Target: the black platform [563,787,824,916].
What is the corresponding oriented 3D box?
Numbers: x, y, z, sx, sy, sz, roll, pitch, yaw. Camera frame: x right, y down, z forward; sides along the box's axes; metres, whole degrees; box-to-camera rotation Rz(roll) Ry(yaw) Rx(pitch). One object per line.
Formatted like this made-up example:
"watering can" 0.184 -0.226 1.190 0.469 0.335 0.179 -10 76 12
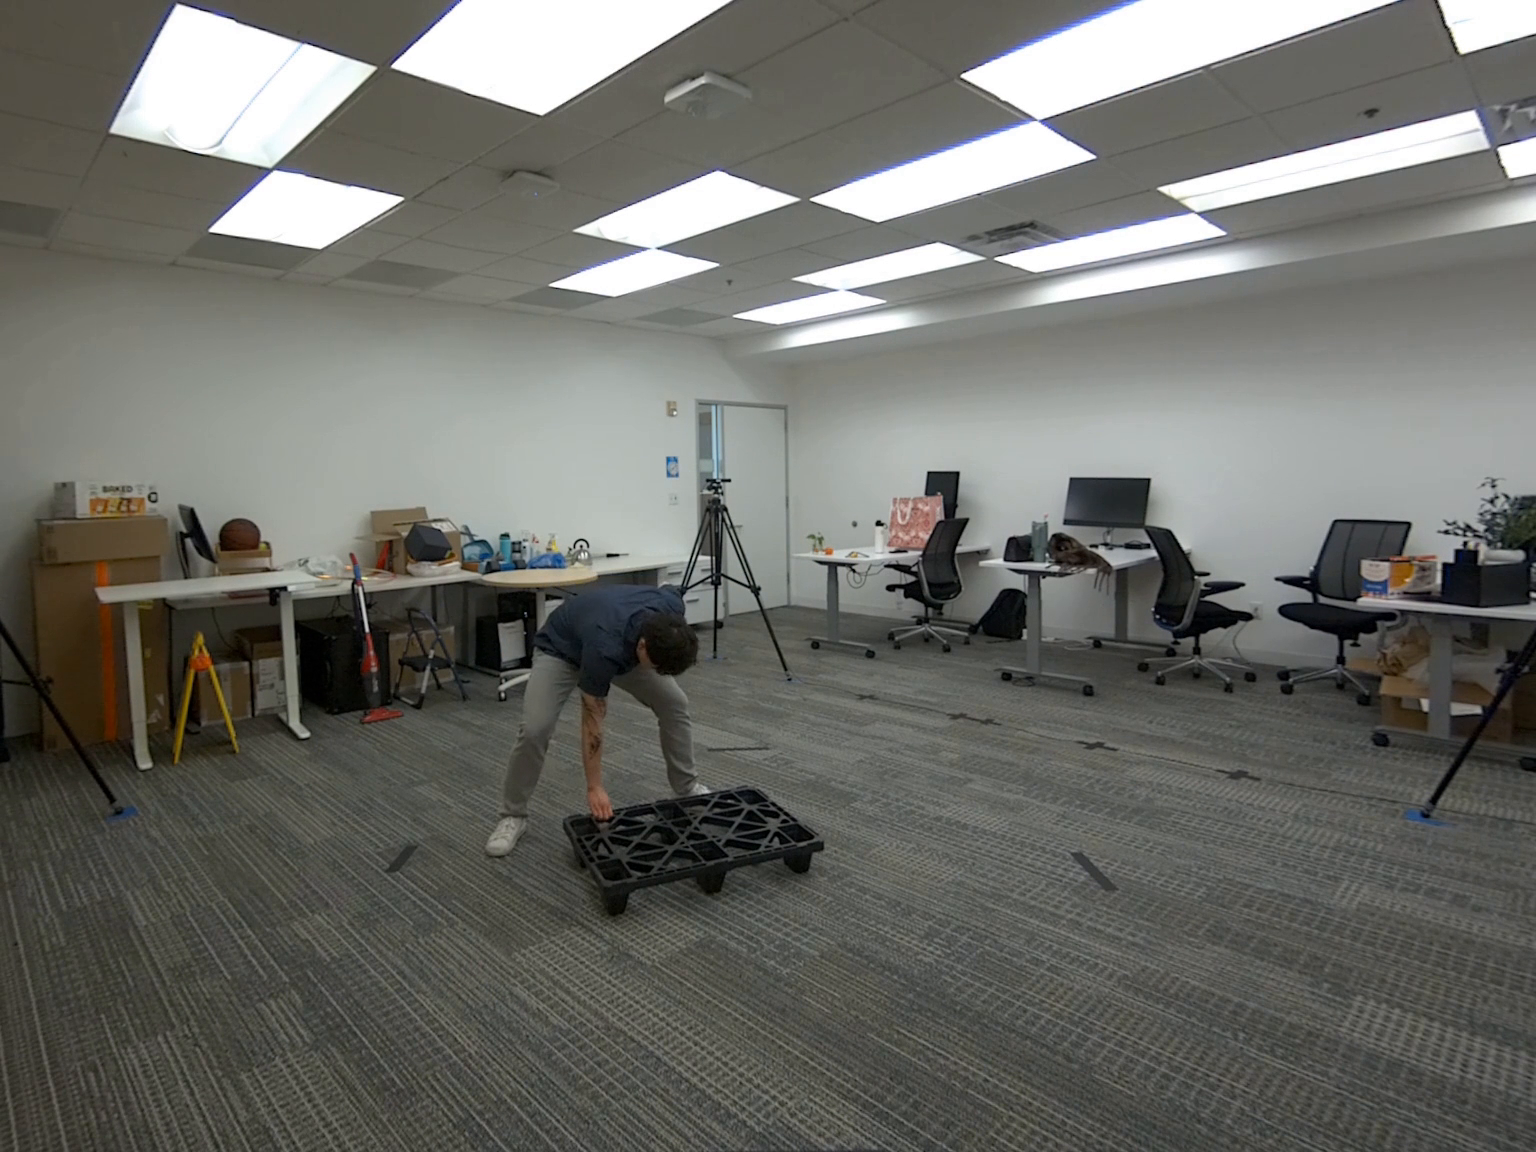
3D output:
"black platform" -0.288 0.982 3.101 0.789 0.142 0.620 -4 7 -24
